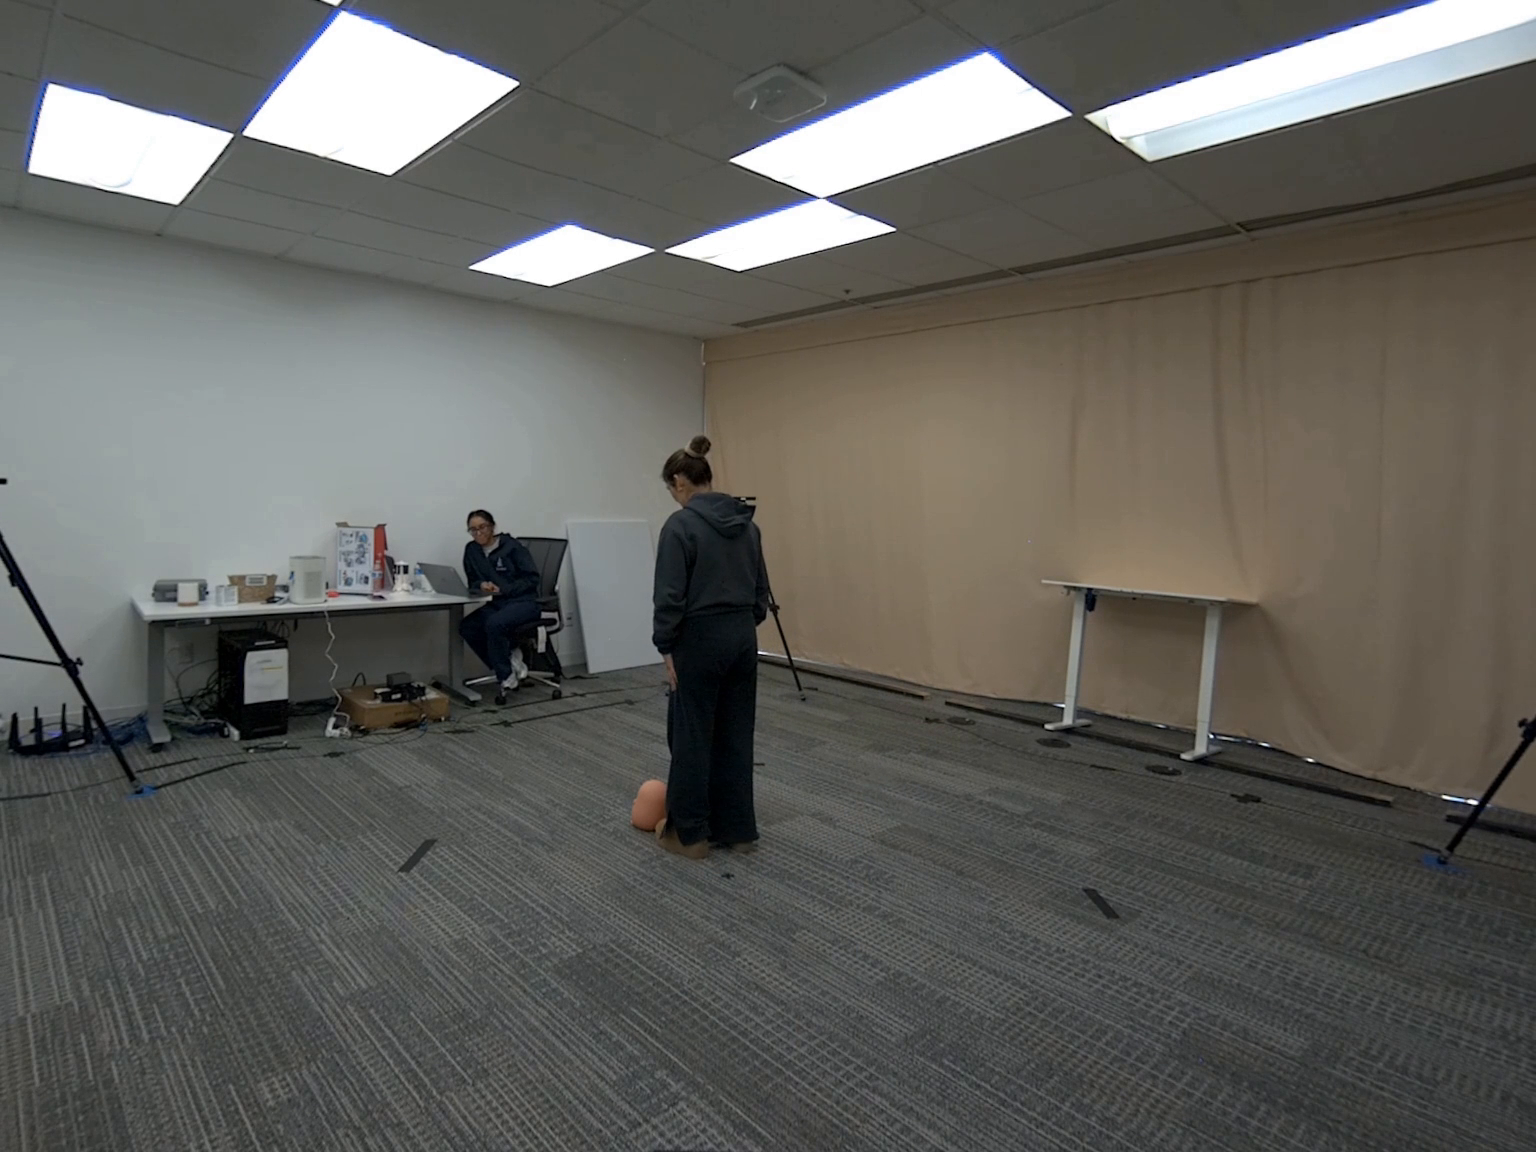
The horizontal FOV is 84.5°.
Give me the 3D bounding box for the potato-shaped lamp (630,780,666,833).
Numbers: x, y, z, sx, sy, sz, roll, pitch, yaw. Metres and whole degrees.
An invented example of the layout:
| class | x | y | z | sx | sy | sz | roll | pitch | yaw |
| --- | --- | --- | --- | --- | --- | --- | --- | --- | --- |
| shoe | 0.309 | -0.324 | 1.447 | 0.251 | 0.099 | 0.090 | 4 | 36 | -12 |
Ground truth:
| class | x | y | z | sx | sy | sz | roll | pitch | yaw |
| --- | --- | --- | --- | --- | --- | --- | --- | --- | --- |
| potato-shaped lamp | -0.500 | 0.955 | 3.557 | 0.176 | 0.197 | 0.161 | 7 | 10 | 35 |
